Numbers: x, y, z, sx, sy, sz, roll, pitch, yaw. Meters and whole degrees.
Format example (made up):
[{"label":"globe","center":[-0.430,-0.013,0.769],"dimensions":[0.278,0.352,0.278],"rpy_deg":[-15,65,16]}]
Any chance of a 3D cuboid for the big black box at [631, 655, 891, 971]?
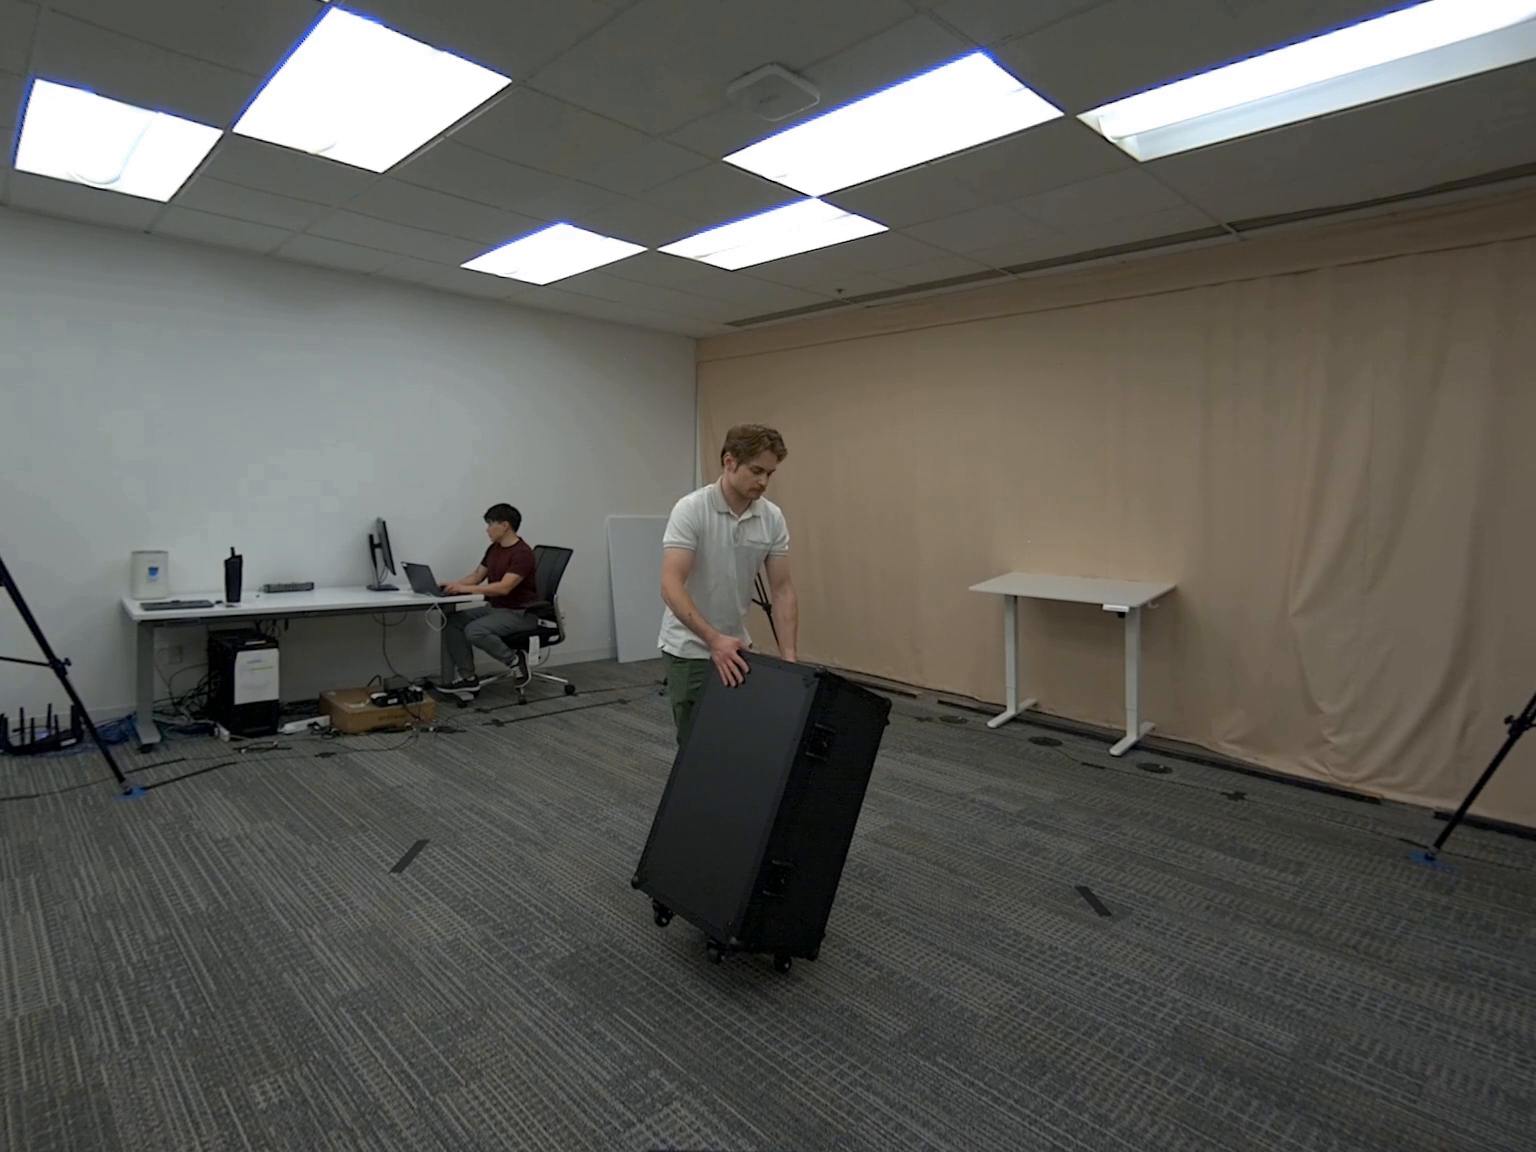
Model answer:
[{"label":"big black box","center":[-0.034,0.704,2.581],"dimensions":[0.537,0.873,0.373],"rpy_deg":[7,-17,46]}]
